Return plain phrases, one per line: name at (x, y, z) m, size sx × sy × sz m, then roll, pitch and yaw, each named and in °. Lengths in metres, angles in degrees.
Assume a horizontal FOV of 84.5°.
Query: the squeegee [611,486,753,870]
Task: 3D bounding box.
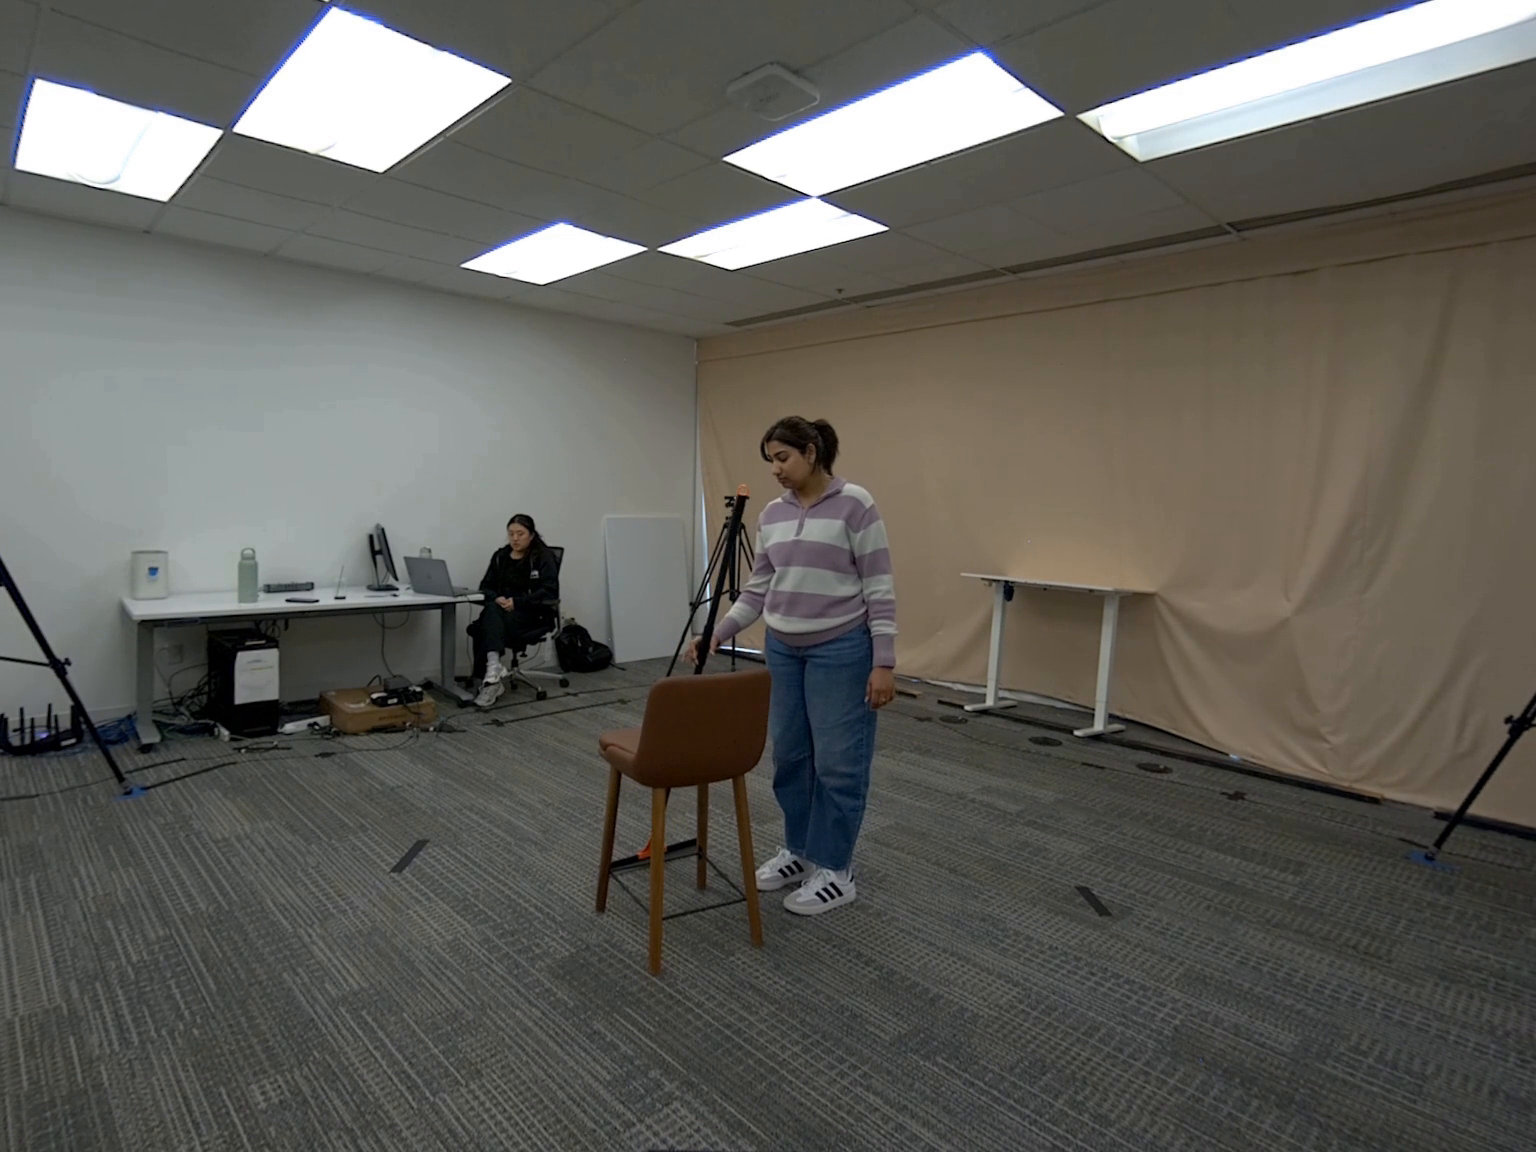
squeegee at (-0.277, 0.396, 2.890) m, size 0.428 × 1.520 × 0.055 m, roll -4°, pitch 29°, yaw -36°
